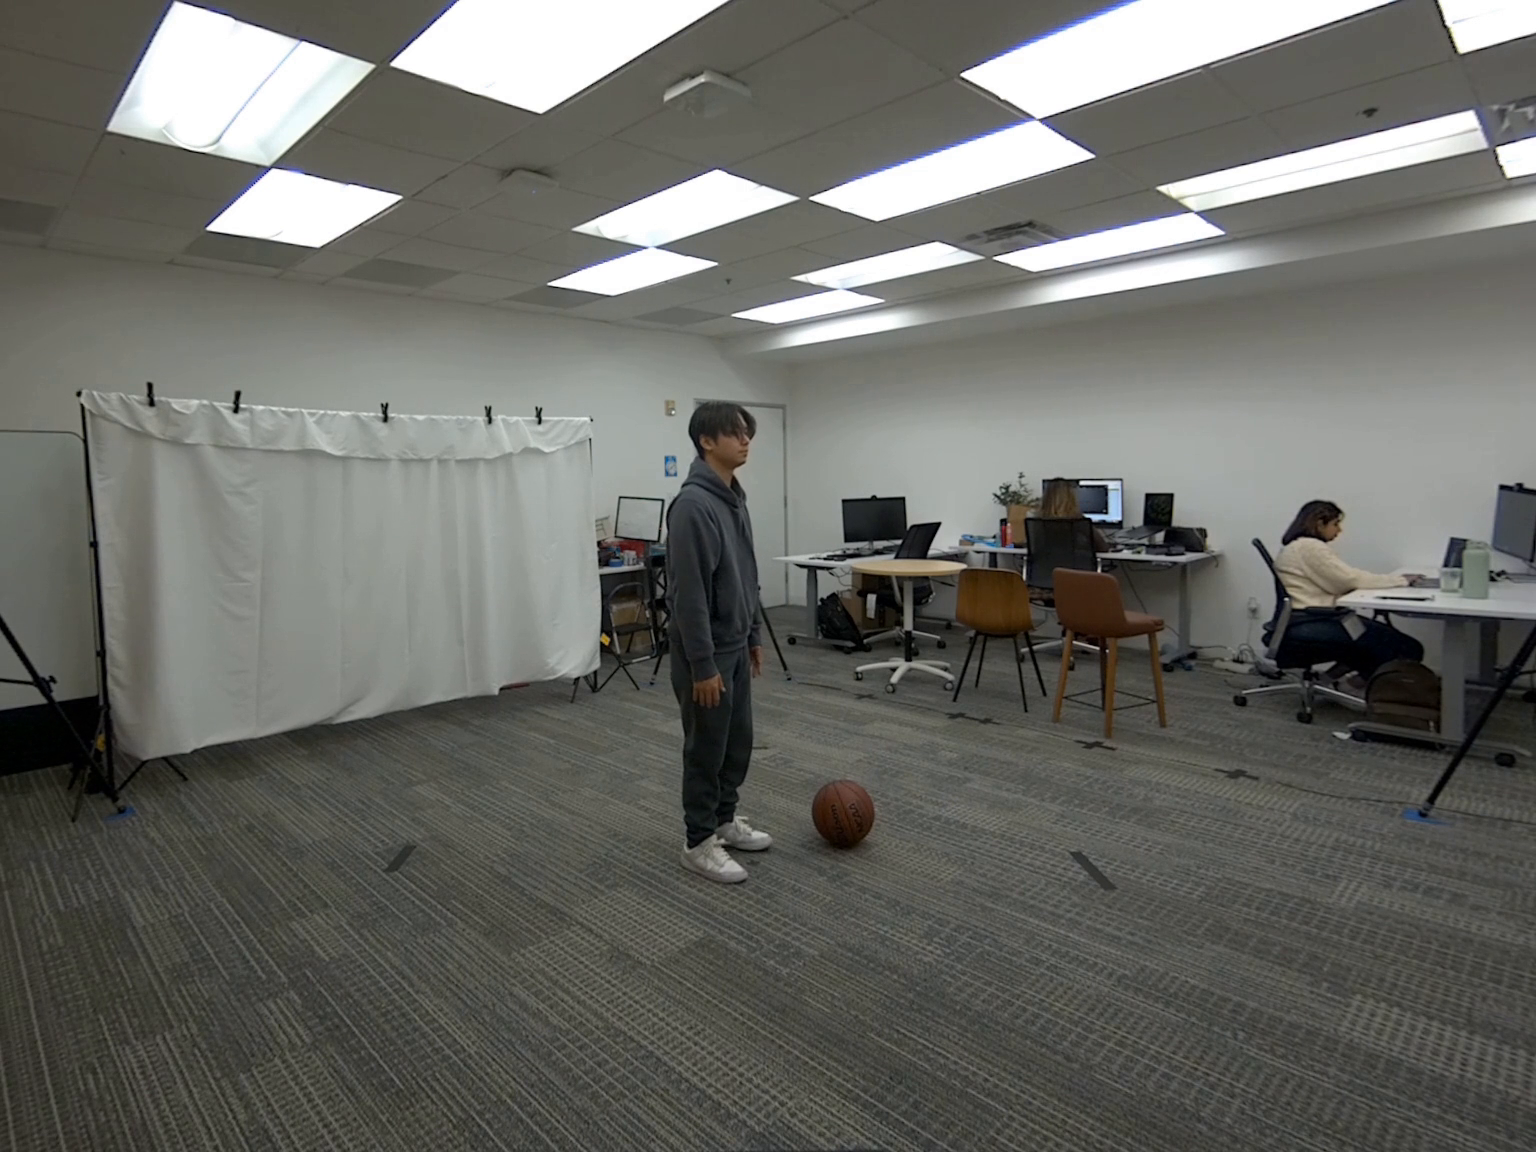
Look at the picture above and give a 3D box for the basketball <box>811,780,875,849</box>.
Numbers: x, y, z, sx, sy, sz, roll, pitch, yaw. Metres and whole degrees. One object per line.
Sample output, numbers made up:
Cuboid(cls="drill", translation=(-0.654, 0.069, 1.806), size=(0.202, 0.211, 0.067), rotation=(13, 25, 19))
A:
Cuboid(cls="basketball", translation=(0.290, 0.899, 3.260), size=(0.236, 0.235, 0.237), rotation=(-1, 5, -2))
